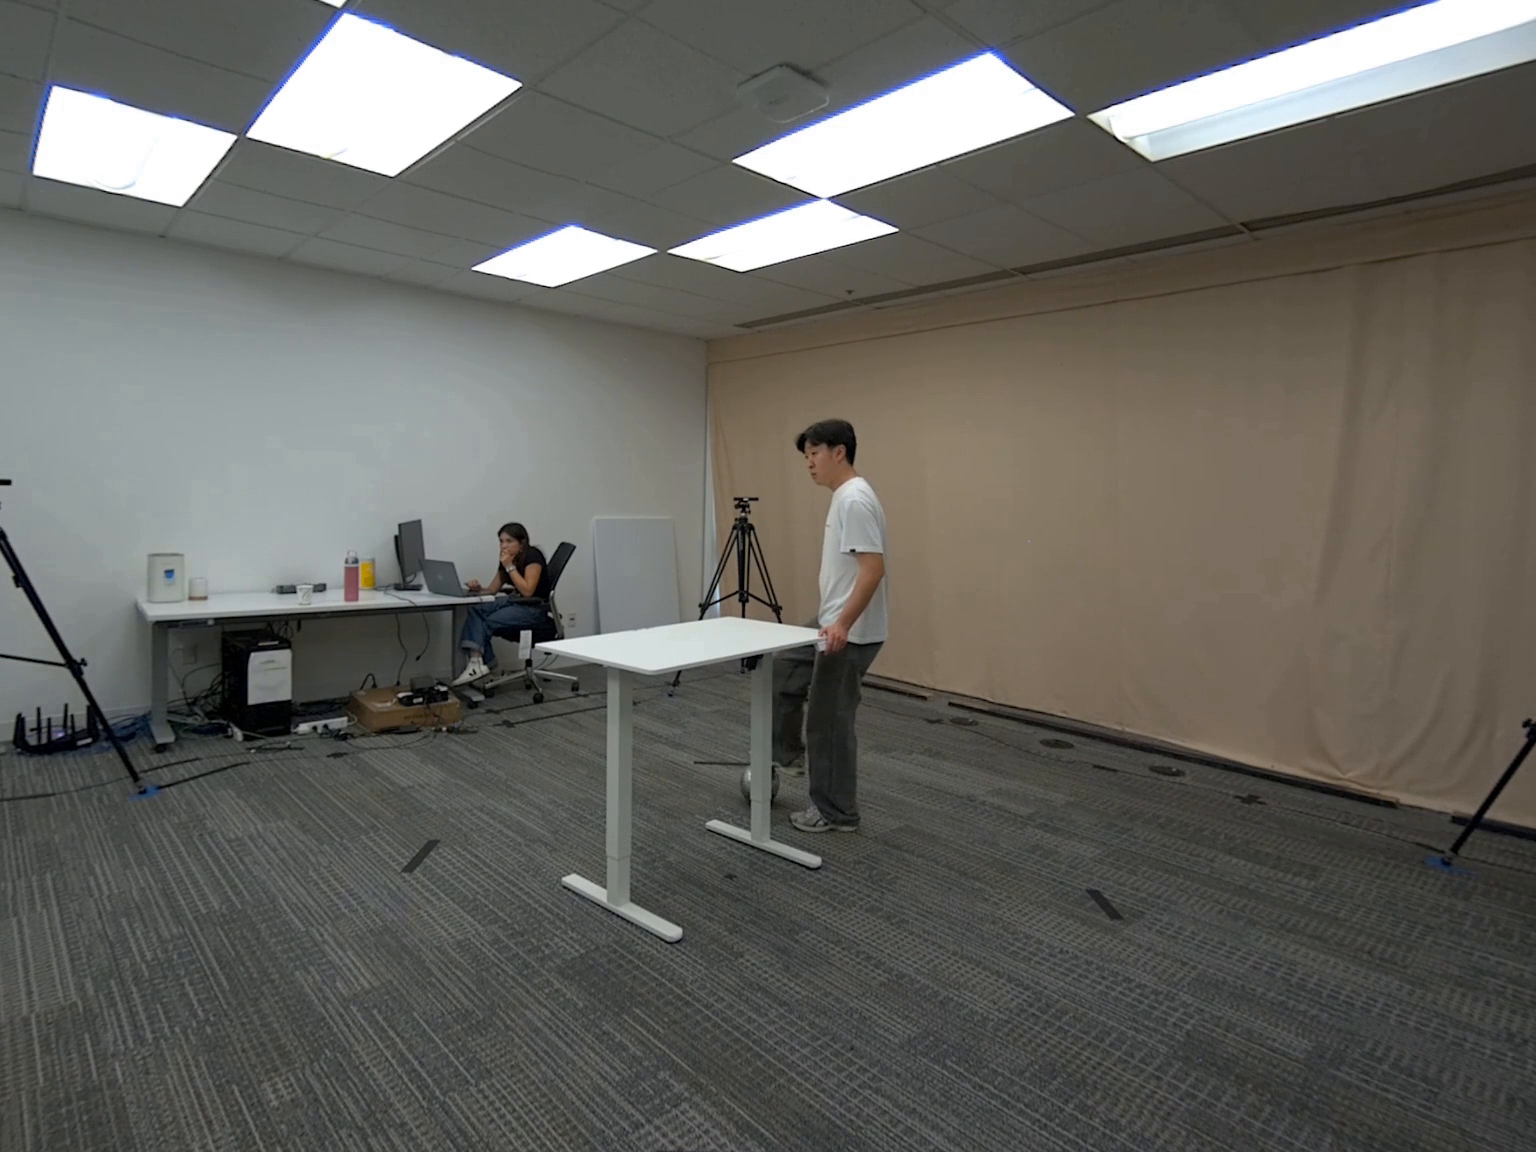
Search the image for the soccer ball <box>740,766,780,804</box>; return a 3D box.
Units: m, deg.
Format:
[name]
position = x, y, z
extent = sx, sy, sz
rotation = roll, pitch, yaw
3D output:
[soccer ball]
position = -0.039, 0.951, 3.877
extent = 0.187, 0.187, 0.188
rotation = 1, 4, -1
